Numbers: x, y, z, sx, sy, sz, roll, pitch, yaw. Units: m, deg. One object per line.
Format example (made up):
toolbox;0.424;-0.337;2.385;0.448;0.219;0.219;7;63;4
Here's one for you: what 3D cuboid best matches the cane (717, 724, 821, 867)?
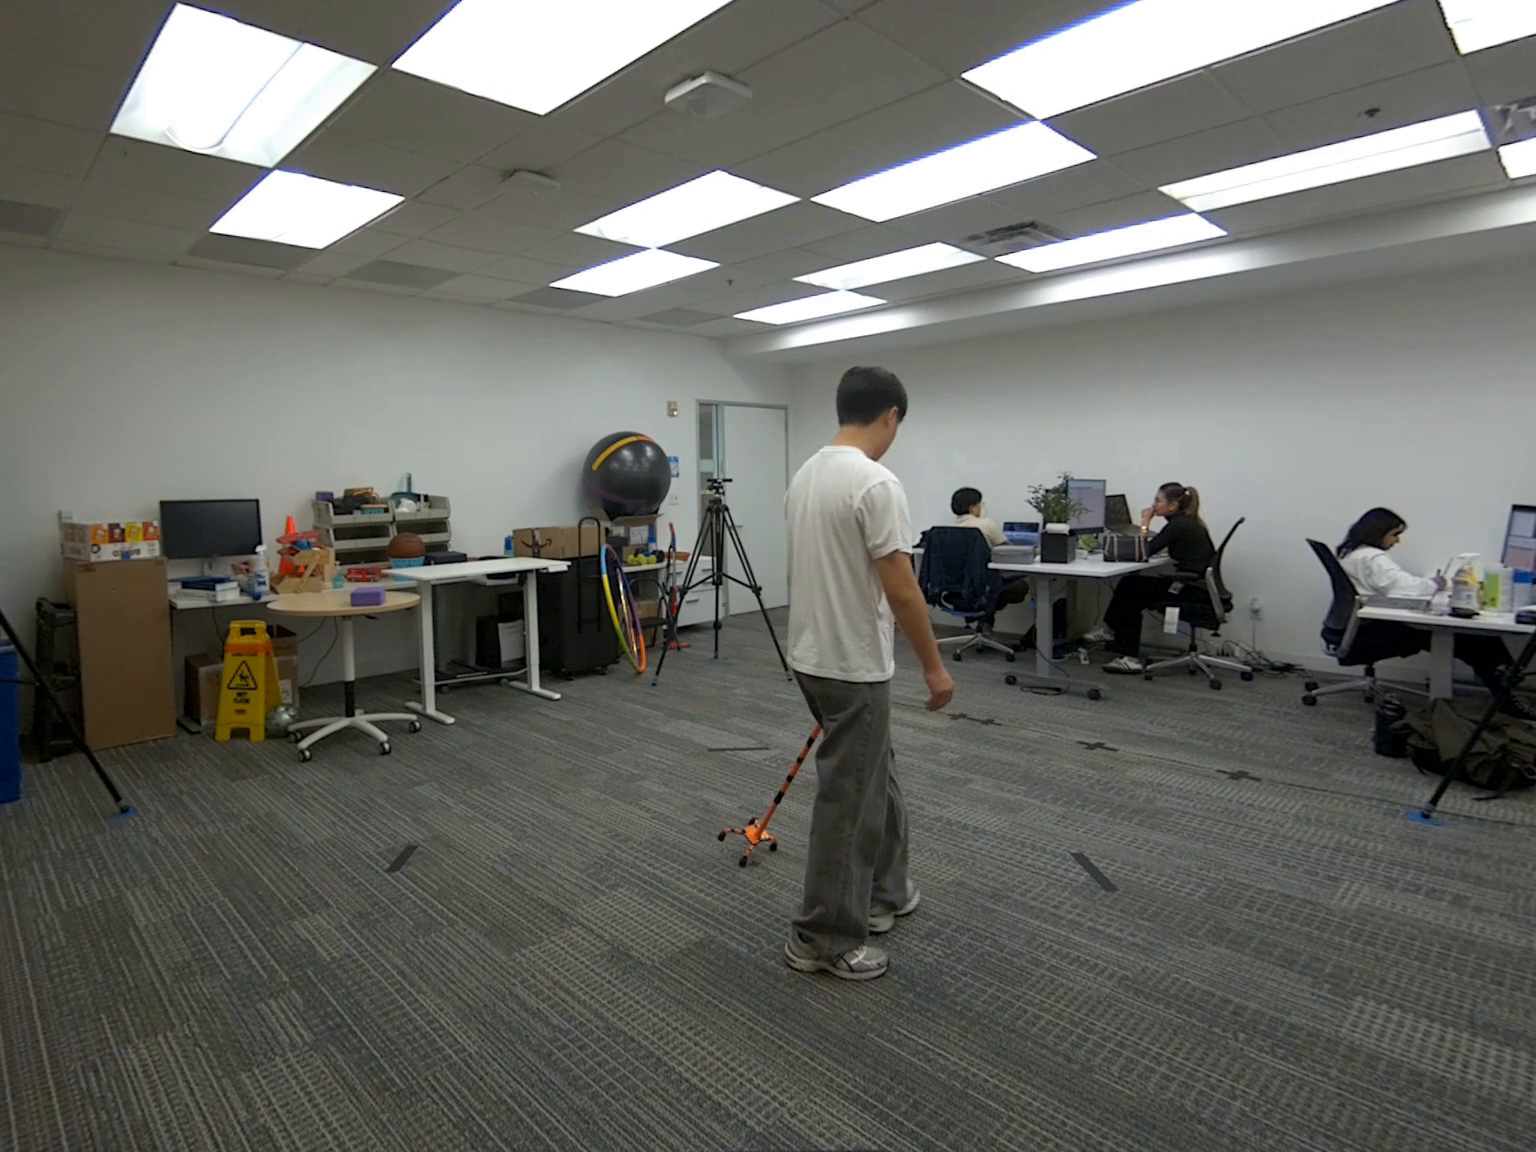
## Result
cane;0.100;0.636;3.016;0.157;0.900;0.201;42;27;30
